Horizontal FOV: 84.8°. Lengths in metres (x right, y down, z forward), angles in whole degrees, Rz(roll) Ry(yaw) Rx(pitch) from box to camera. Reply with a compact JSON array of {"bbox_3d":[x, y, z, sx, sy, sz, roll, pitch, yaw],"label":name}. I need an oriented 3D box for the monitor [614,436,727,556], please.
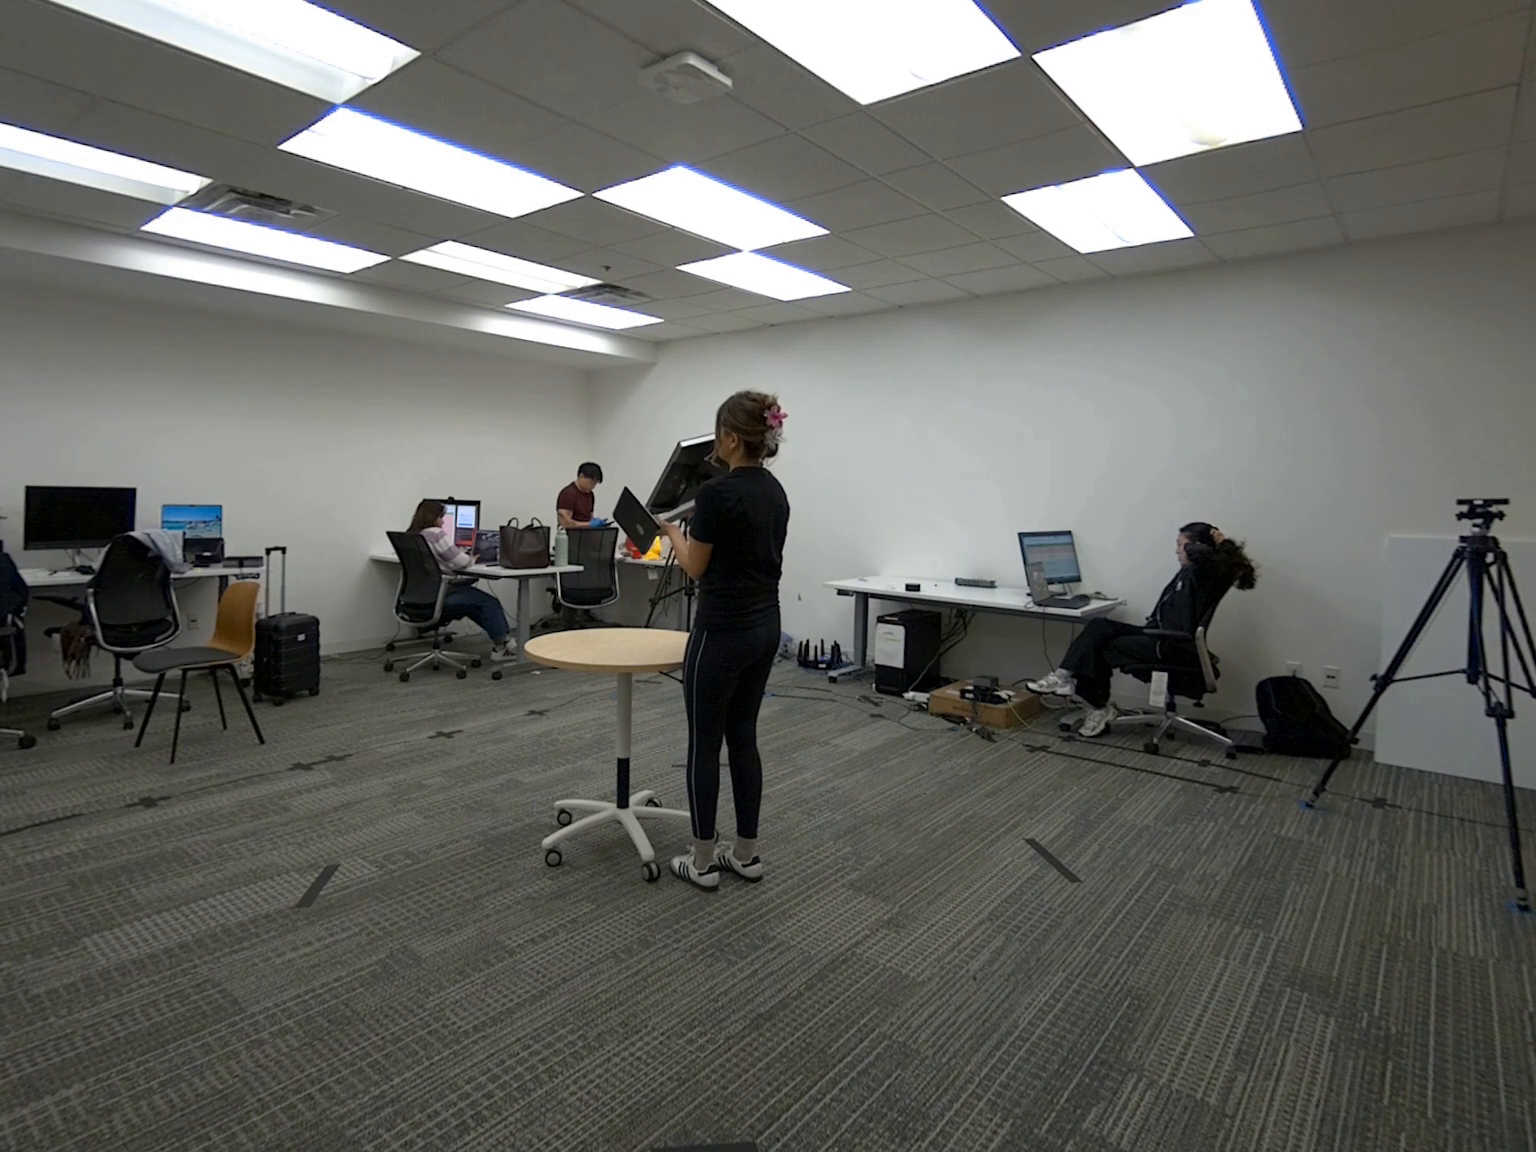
[{"bbox_3d":[-0.327,-0.331,3.265,0.518,0.189,0.538,-36,-6,-31],"label":"monitor"}]
